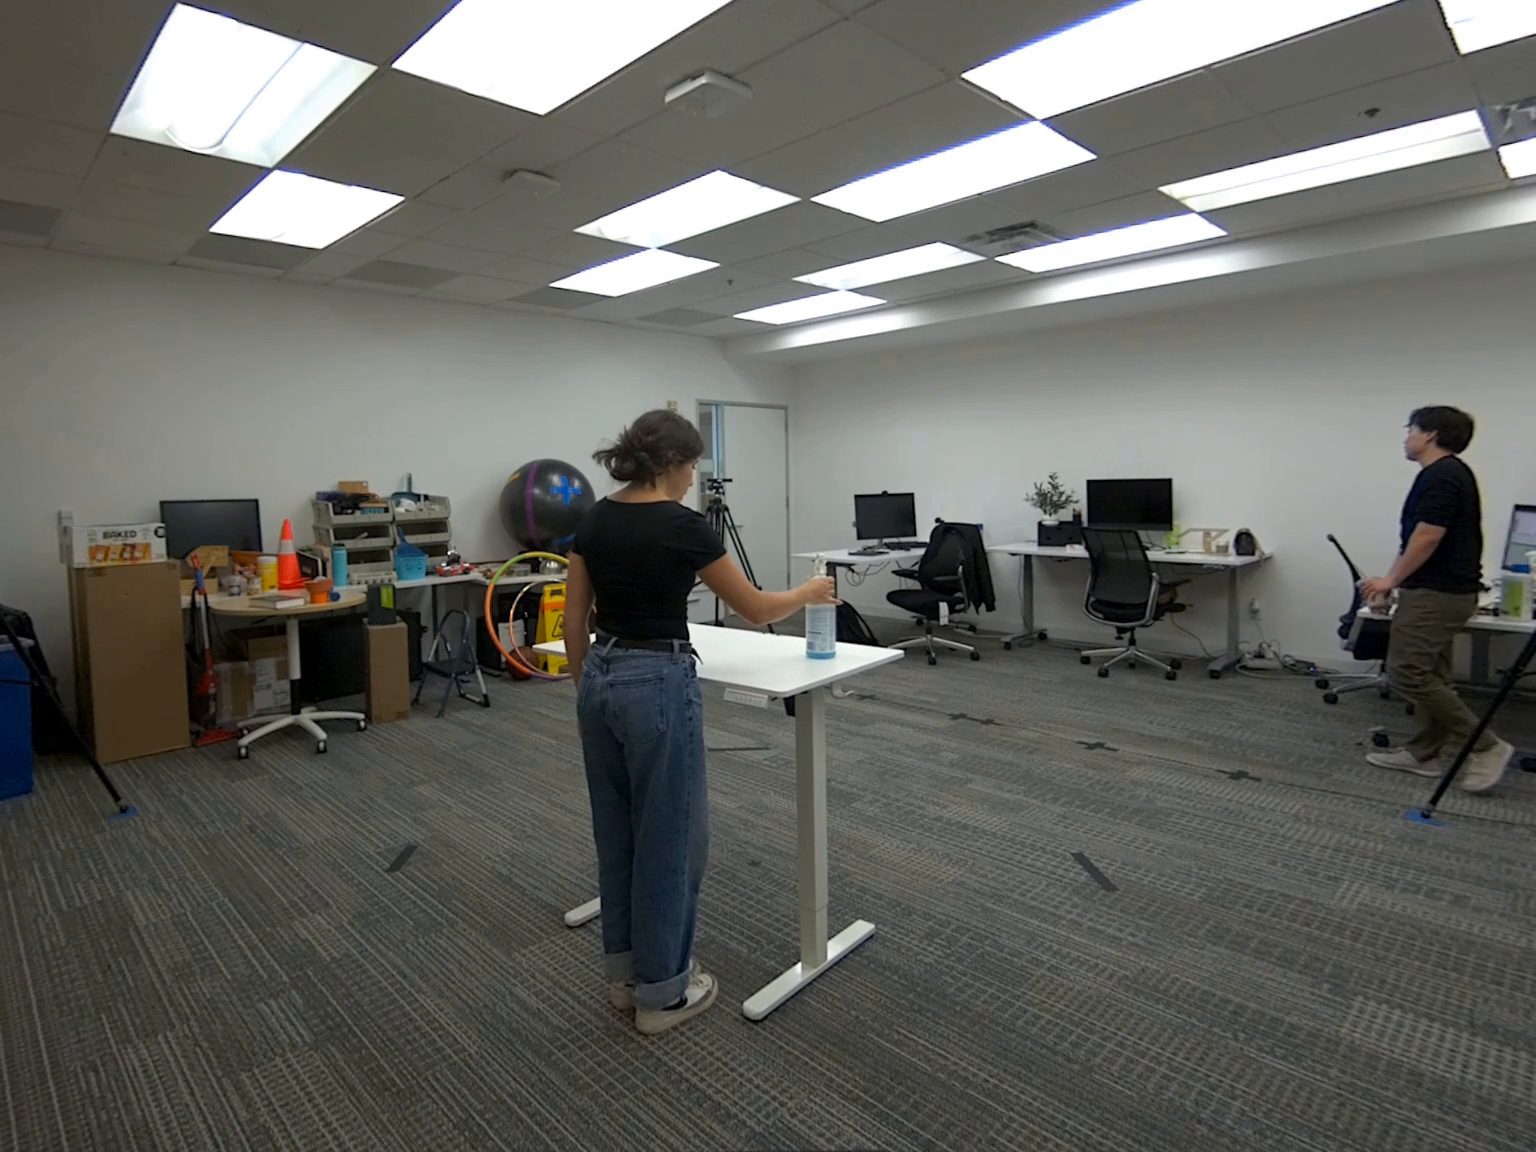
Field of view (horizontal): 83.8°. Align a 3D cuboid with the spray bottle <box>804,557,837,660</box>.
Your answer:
[{"bbox_3d":[0.161,0.088,2.454,0.089,0.296,0.088,3,5,23],"label":"spray bottle"}]
